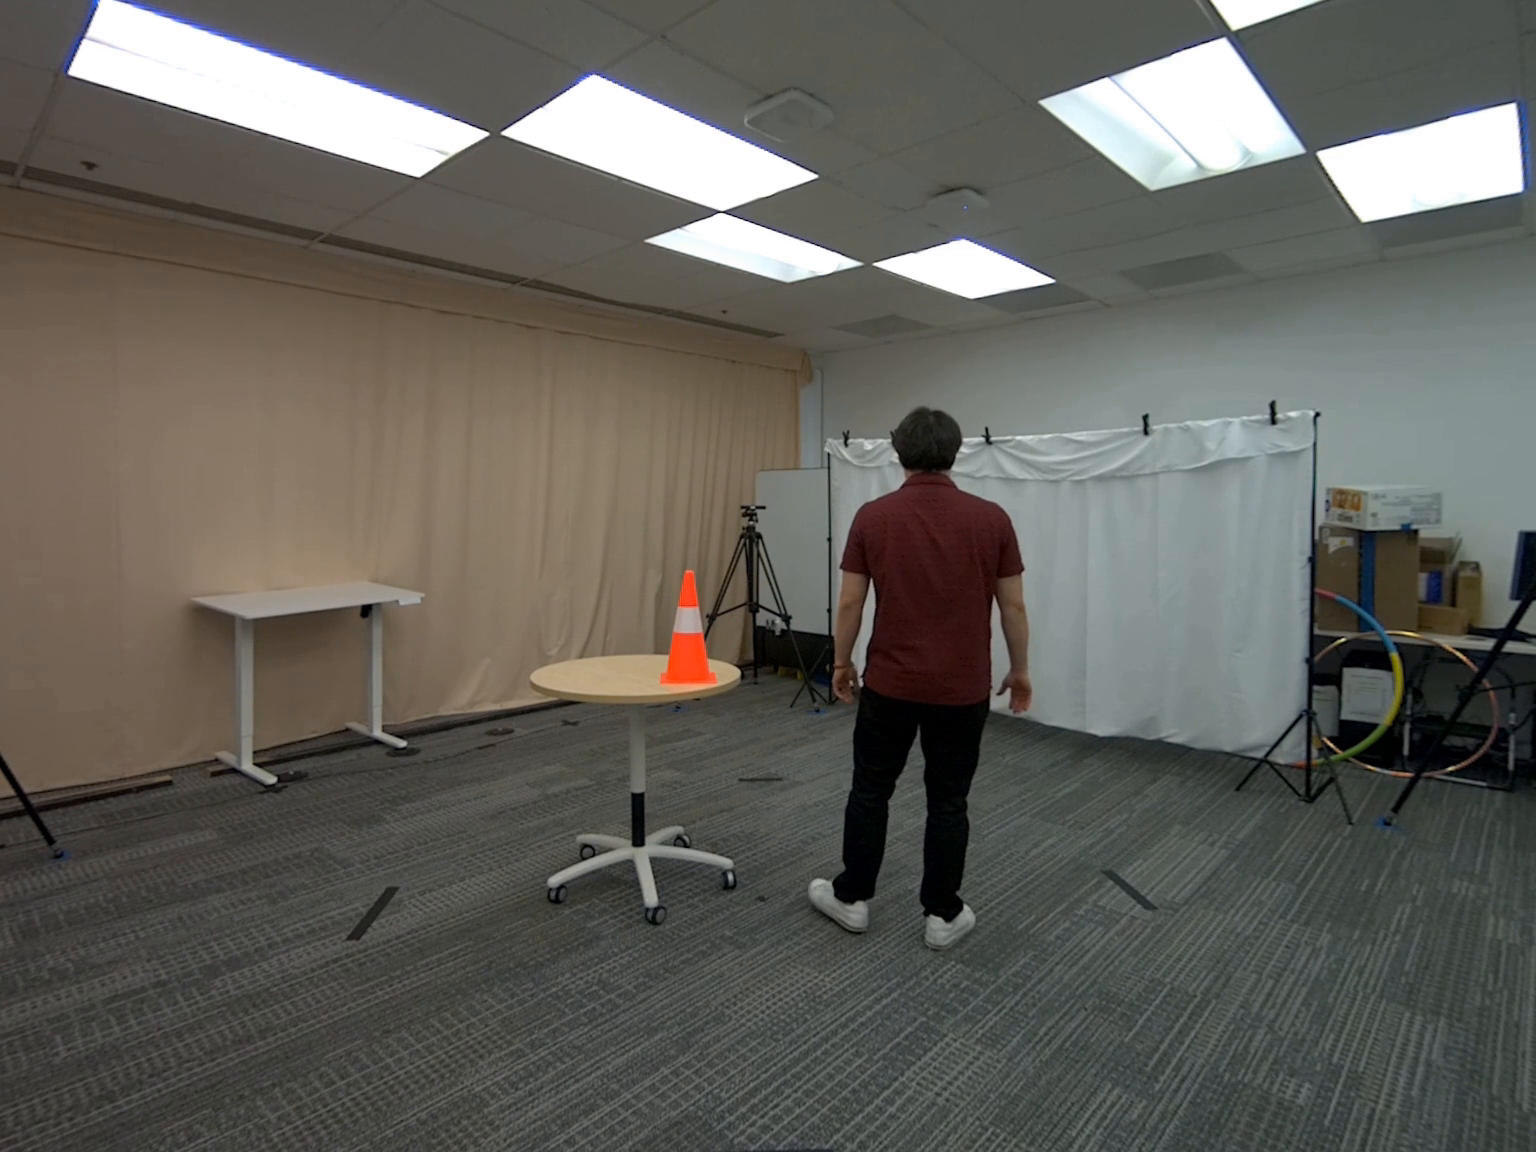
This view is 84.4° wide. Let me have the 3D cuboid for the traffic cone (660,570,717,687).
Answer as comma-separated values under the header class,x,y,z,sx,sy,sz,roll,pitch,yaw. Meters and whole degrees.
class,x,y,z,sx,sy,sz,roll,pitch,yaw
traffic cone,-0.273,0.175,2.971,0.203,0.383,0.206,2,4,-9
